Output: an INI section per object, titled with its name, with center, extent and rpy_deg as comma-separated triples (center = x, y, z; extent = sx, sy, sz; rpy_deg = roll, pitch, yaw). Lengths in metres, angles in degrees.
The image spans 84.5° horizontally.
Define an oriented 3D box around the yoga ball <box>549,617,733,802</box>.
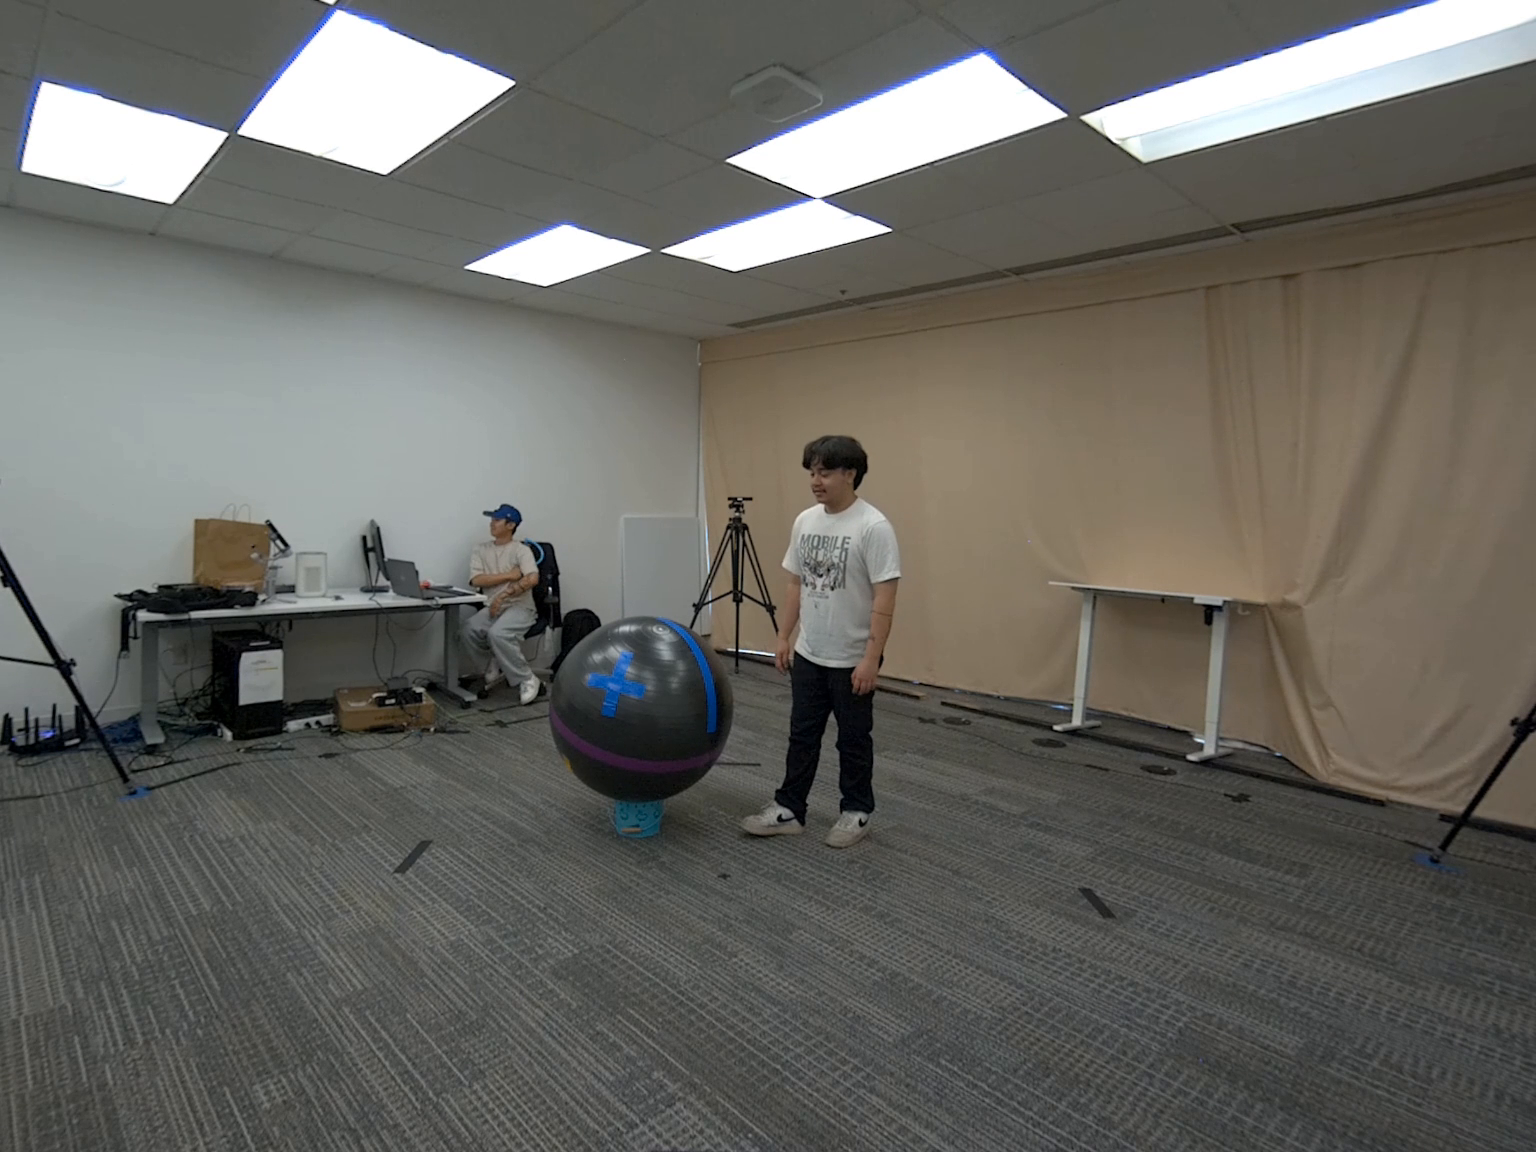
[yoga ball]
center = -0.532, 0.549, 3.509
extent = 0.757, 0.756, 0.761
rpy_deg = 1, 4, -1
